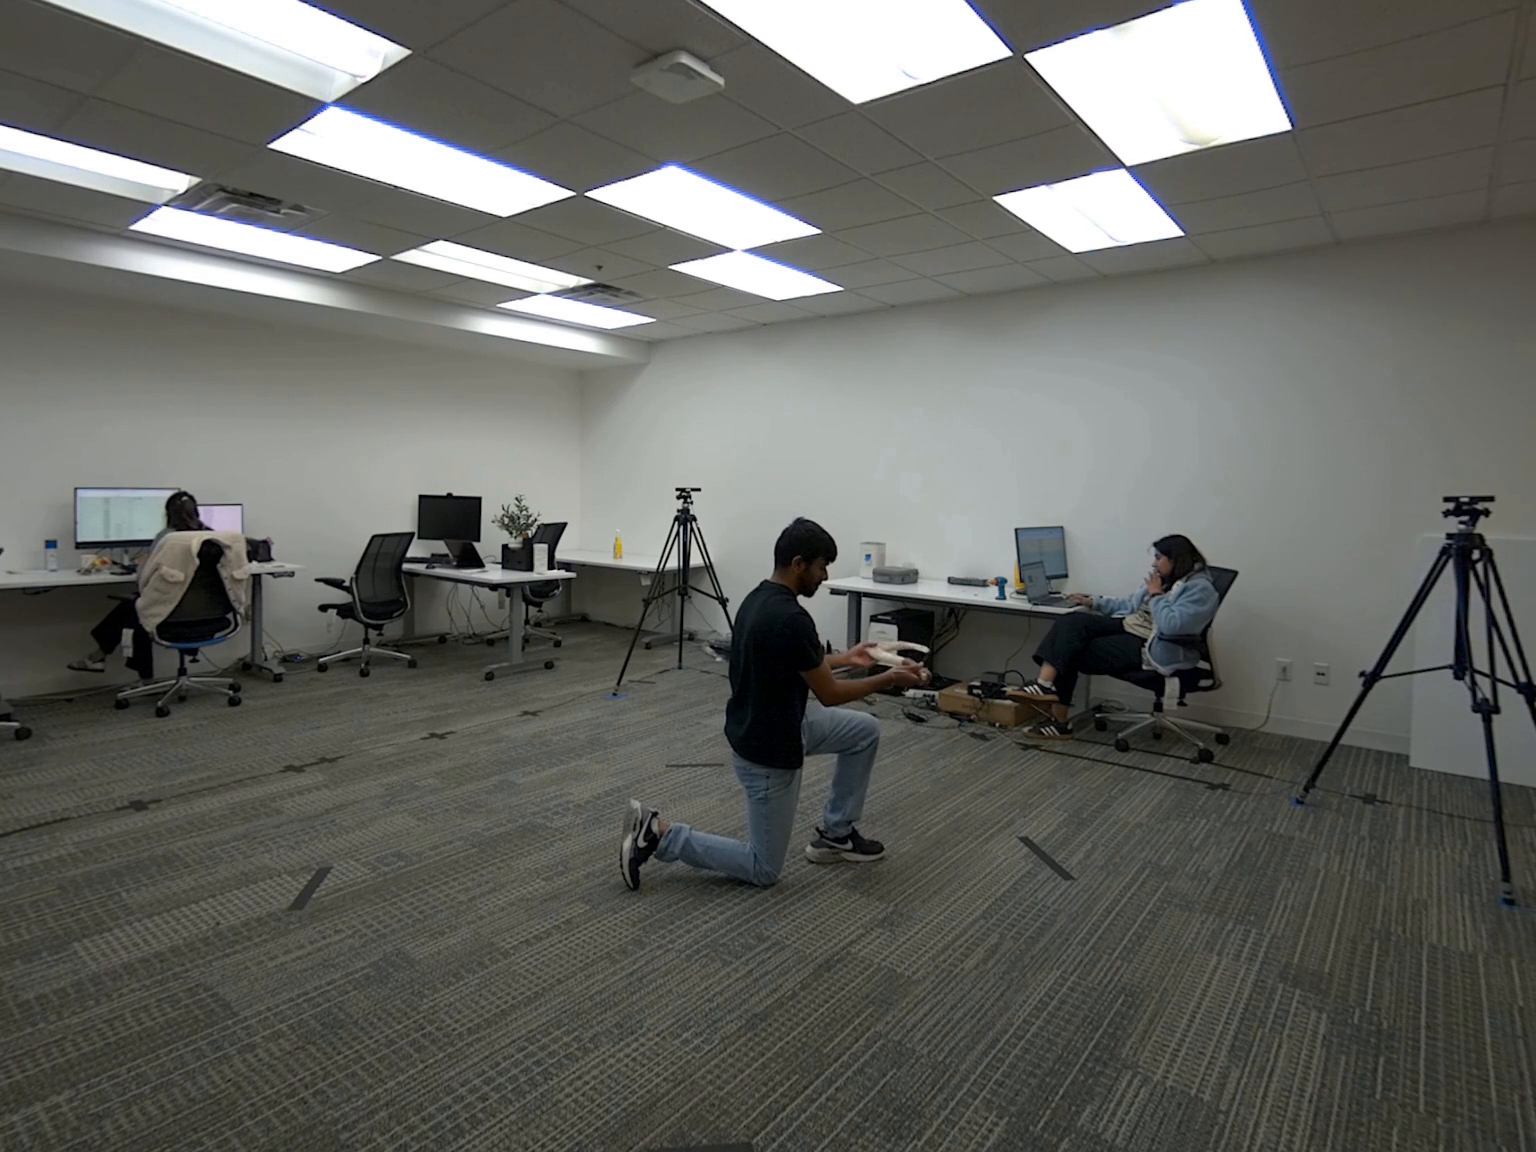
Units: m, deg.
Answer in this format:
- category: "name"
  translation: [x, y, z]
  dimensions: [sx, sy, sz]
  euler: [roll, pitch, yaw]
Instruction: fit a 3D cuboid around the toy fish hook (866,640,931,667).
- category: "toy fish hook"
  translation: [0.529, 0.305, 3.205]
  dimensions: [0.222, 0.048, 0.518]
  euler: [-12, 12, -15]
